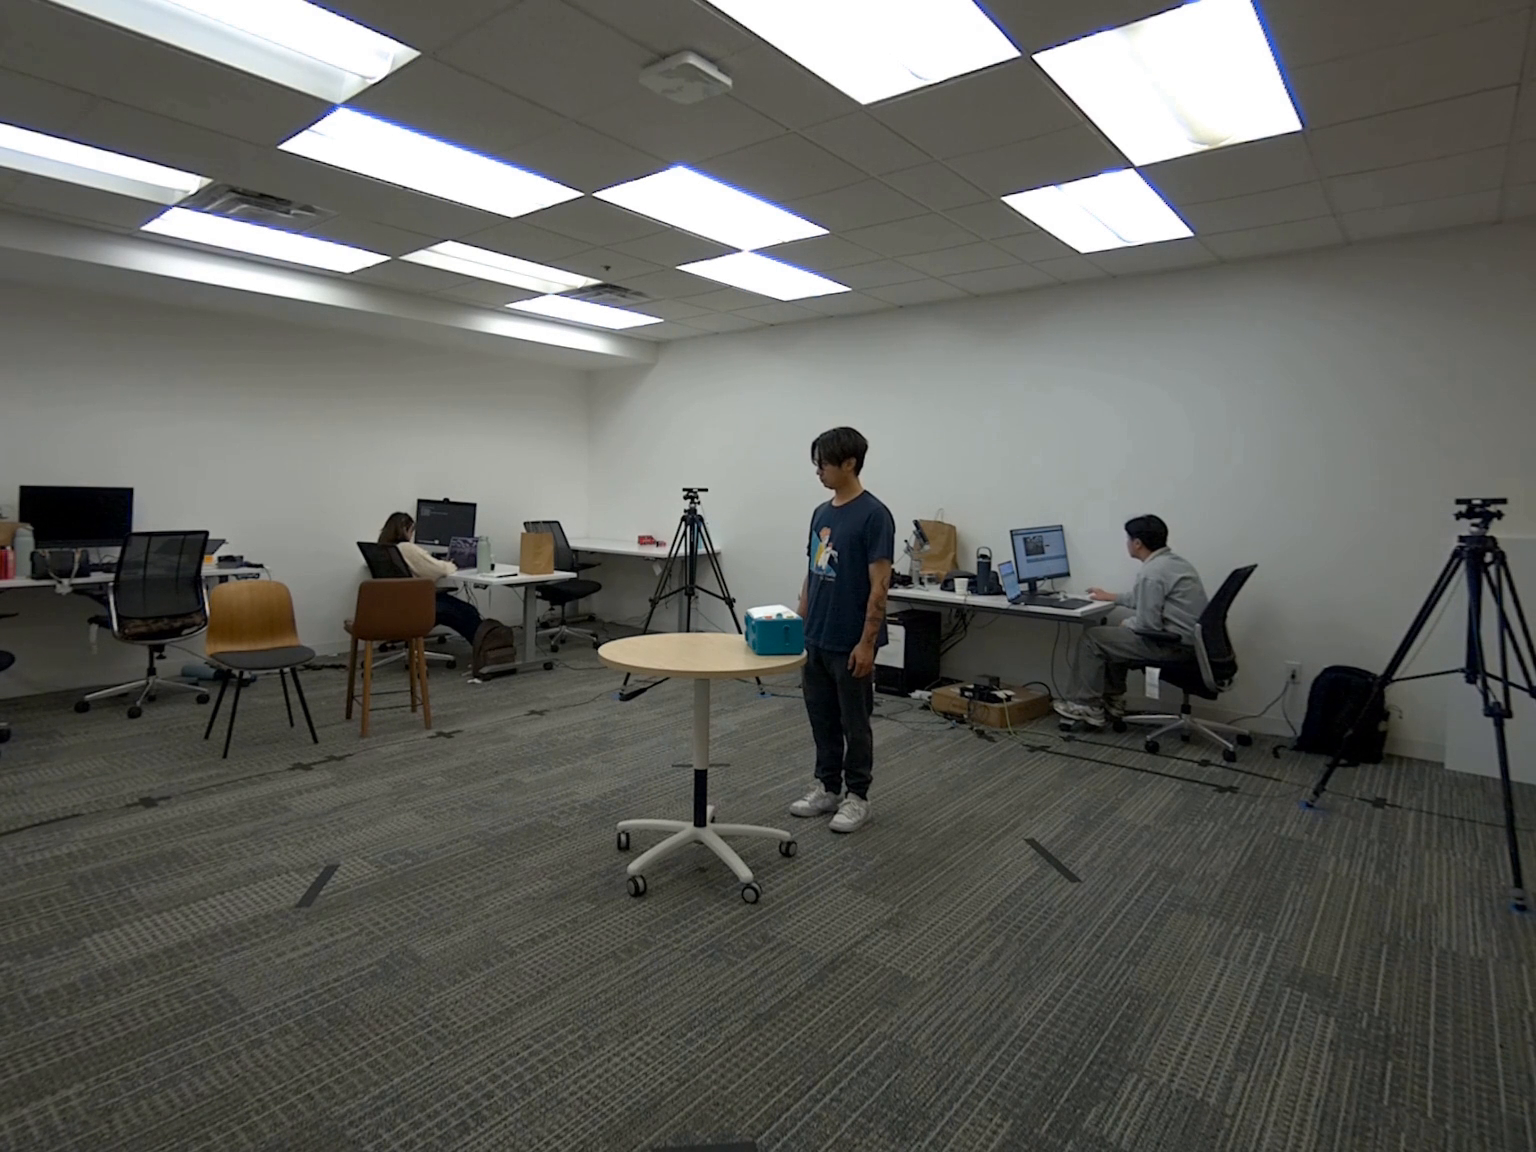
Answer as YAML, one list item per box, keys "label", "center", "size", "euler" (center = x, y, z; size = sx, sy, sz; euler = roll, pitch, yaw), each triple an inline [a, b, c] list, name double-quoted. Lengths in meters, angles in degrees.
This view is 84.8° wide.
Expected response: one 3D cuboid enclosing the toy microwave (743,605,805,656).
- label: "toy microwave"
  center: [0.001, 0.194, 3.164]
  size: [0.183, 0.152, 0.289]
  euler: [-2, 4, -7]
